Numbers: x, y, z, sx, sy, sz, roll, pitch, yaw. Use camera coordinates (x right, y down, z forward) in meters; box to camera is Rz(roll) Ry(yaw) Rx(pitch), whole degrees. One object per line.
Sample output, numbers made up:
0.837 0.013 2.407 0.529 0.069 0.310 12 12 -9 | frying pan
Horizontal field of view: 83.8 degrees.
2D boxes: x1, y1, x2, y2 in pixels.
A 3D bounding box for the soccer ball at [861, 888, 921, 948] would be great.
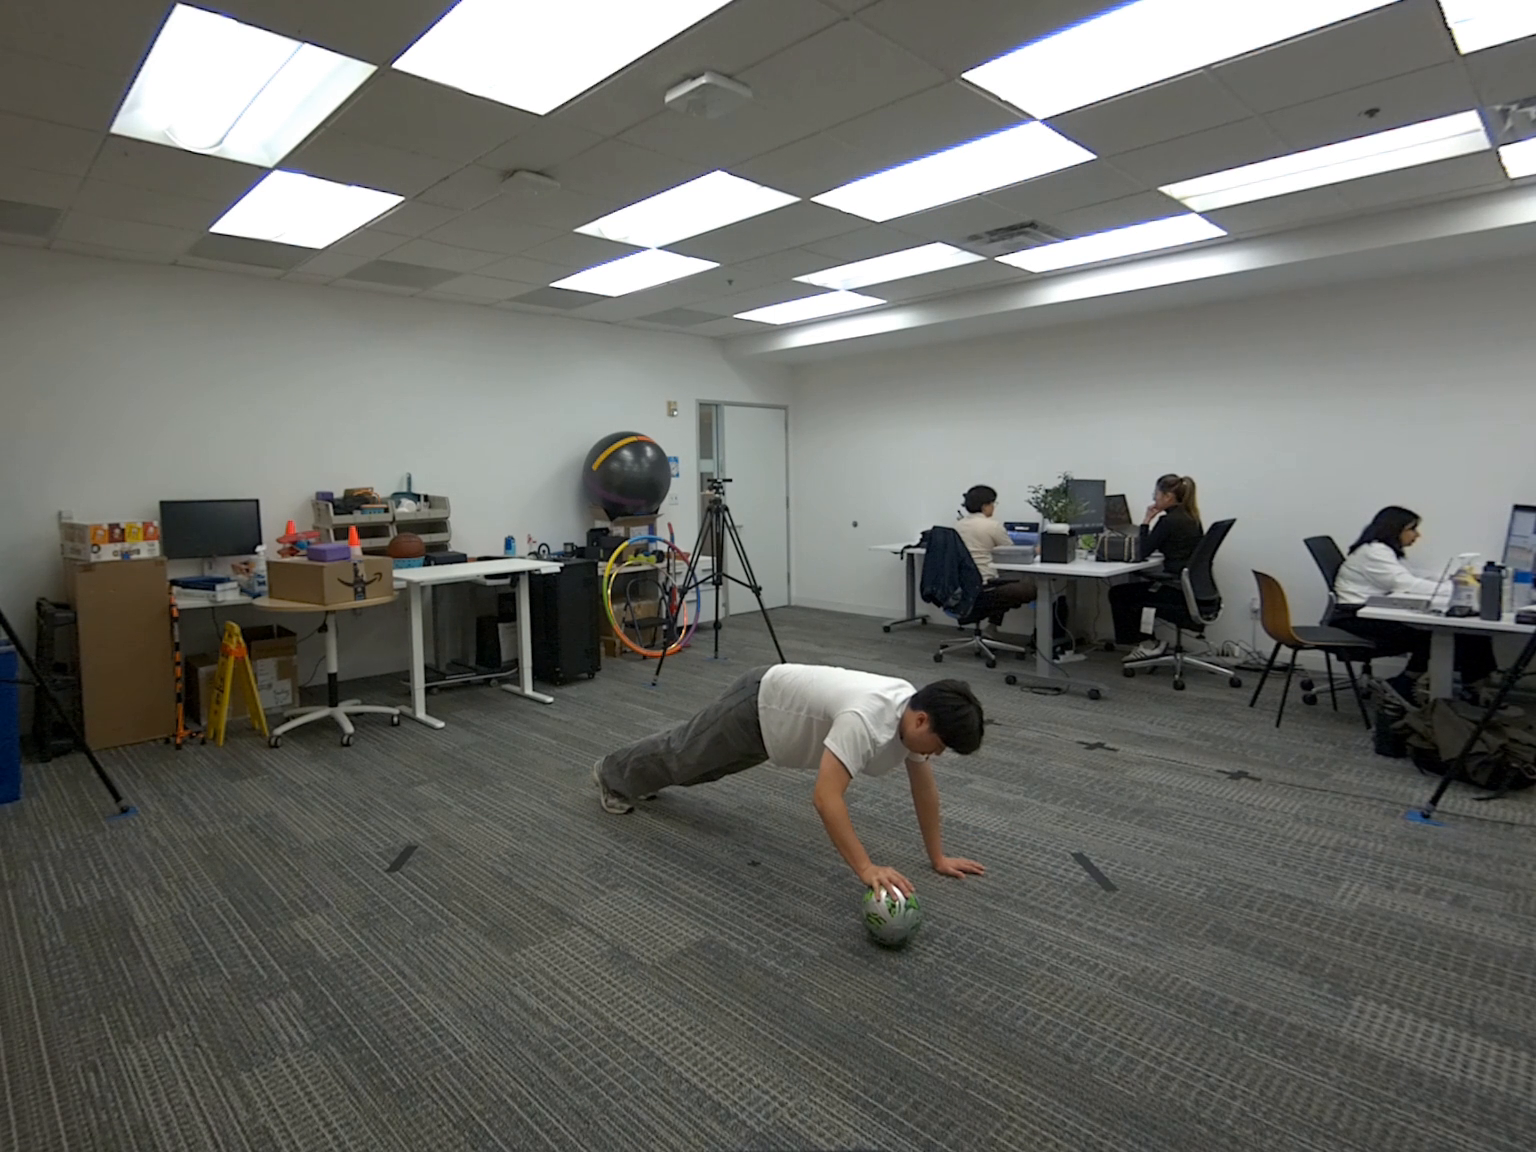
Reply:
0.374 1.009 2.579 0.187 0.187 0.188 -1 5 -2 | soccer ball
